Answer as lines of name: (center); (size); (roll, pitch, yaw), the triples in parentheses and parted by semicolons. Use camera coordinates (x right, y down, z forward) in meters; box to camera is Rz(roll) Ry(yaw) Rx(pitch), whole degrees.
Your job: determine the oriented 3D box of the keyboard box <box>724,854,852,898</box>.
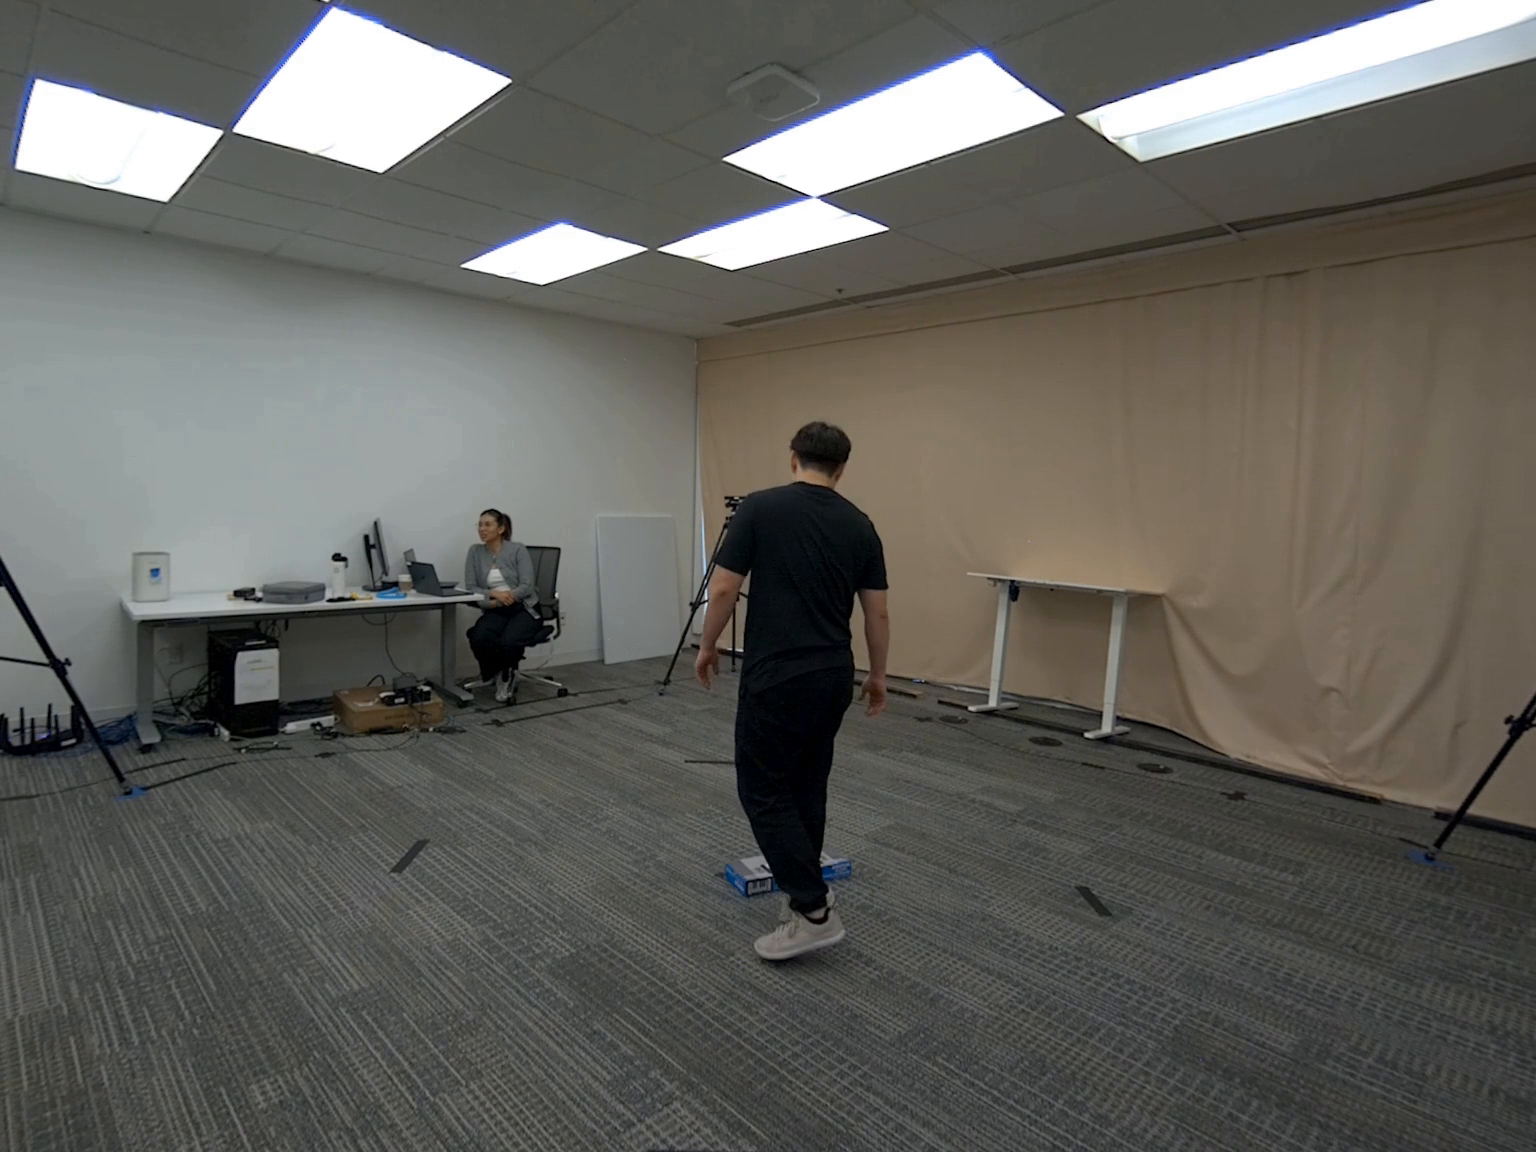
keyboard box: (0.068, 1.079, 3.099); (0.429, 0.059, 0.179); (-1, 5, -26)
